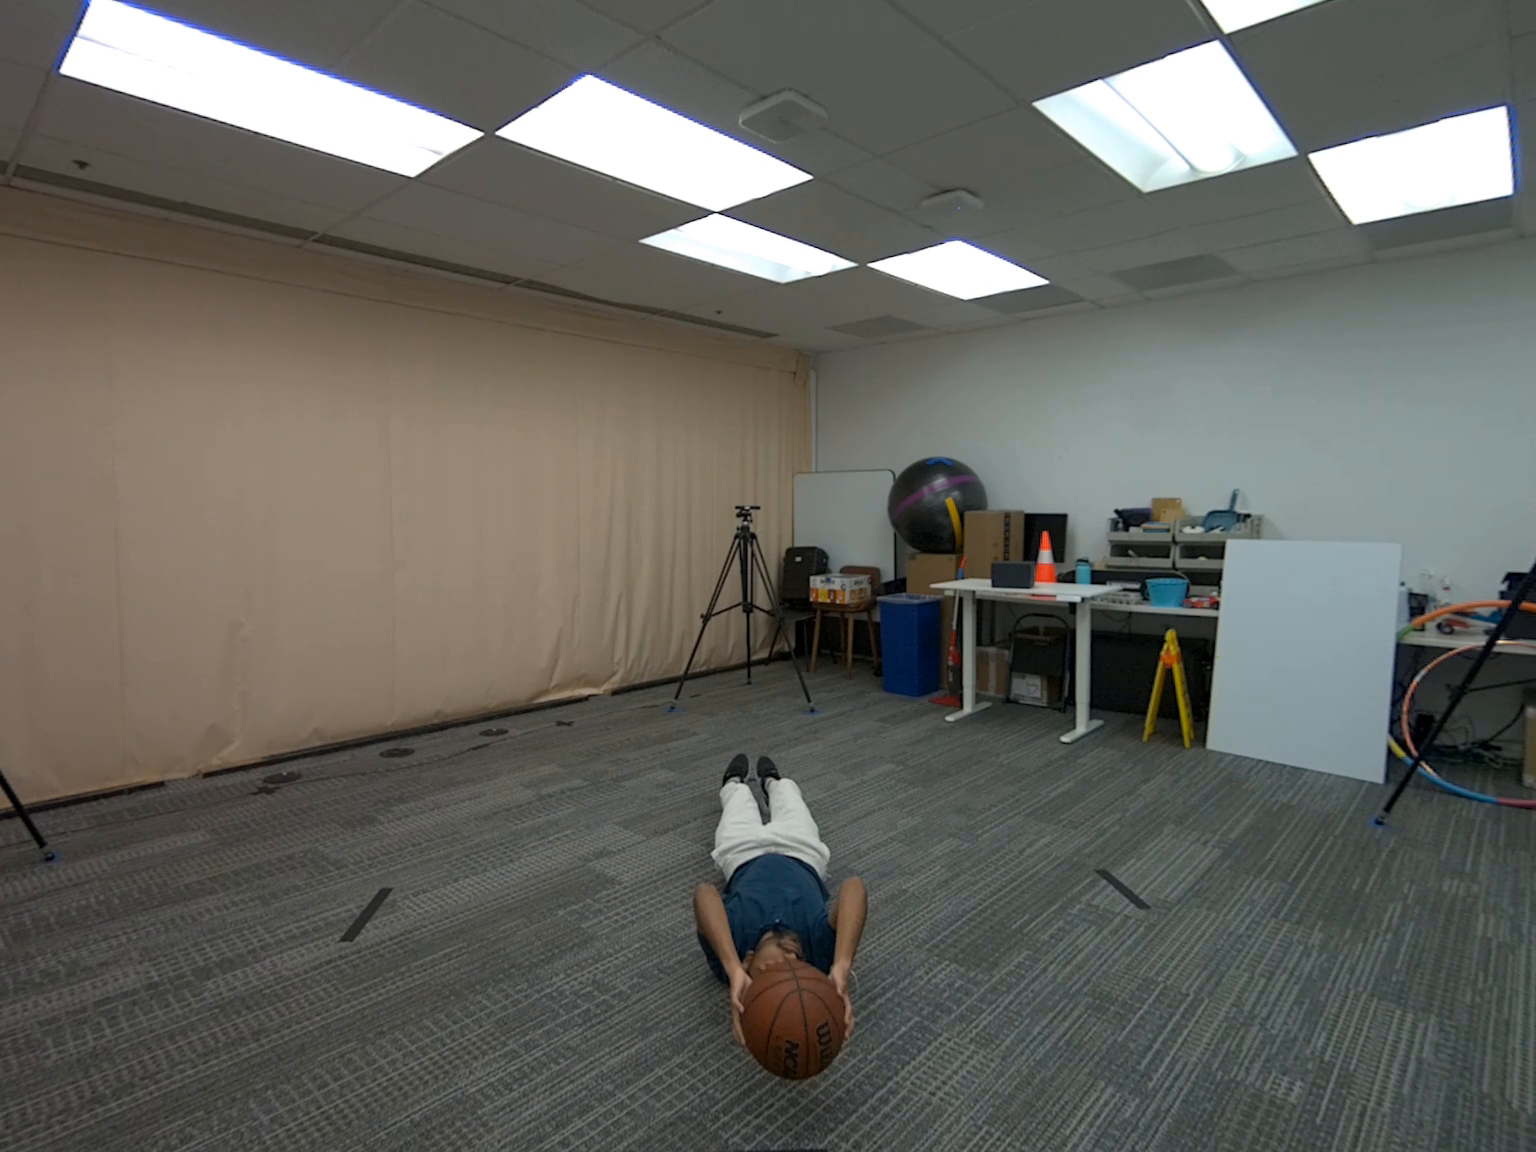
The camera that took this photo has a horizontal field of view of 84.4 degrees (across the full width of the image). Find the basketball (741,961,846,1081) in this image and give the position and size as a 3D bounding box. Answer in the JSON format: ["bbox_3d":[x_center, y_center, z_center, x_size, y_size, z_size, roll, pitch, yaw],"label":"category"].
[{"bbox_3d":[0.064,1.012,1.920,0.236,0.235,0.237,0,4,-2],"label":"basketball"}]
